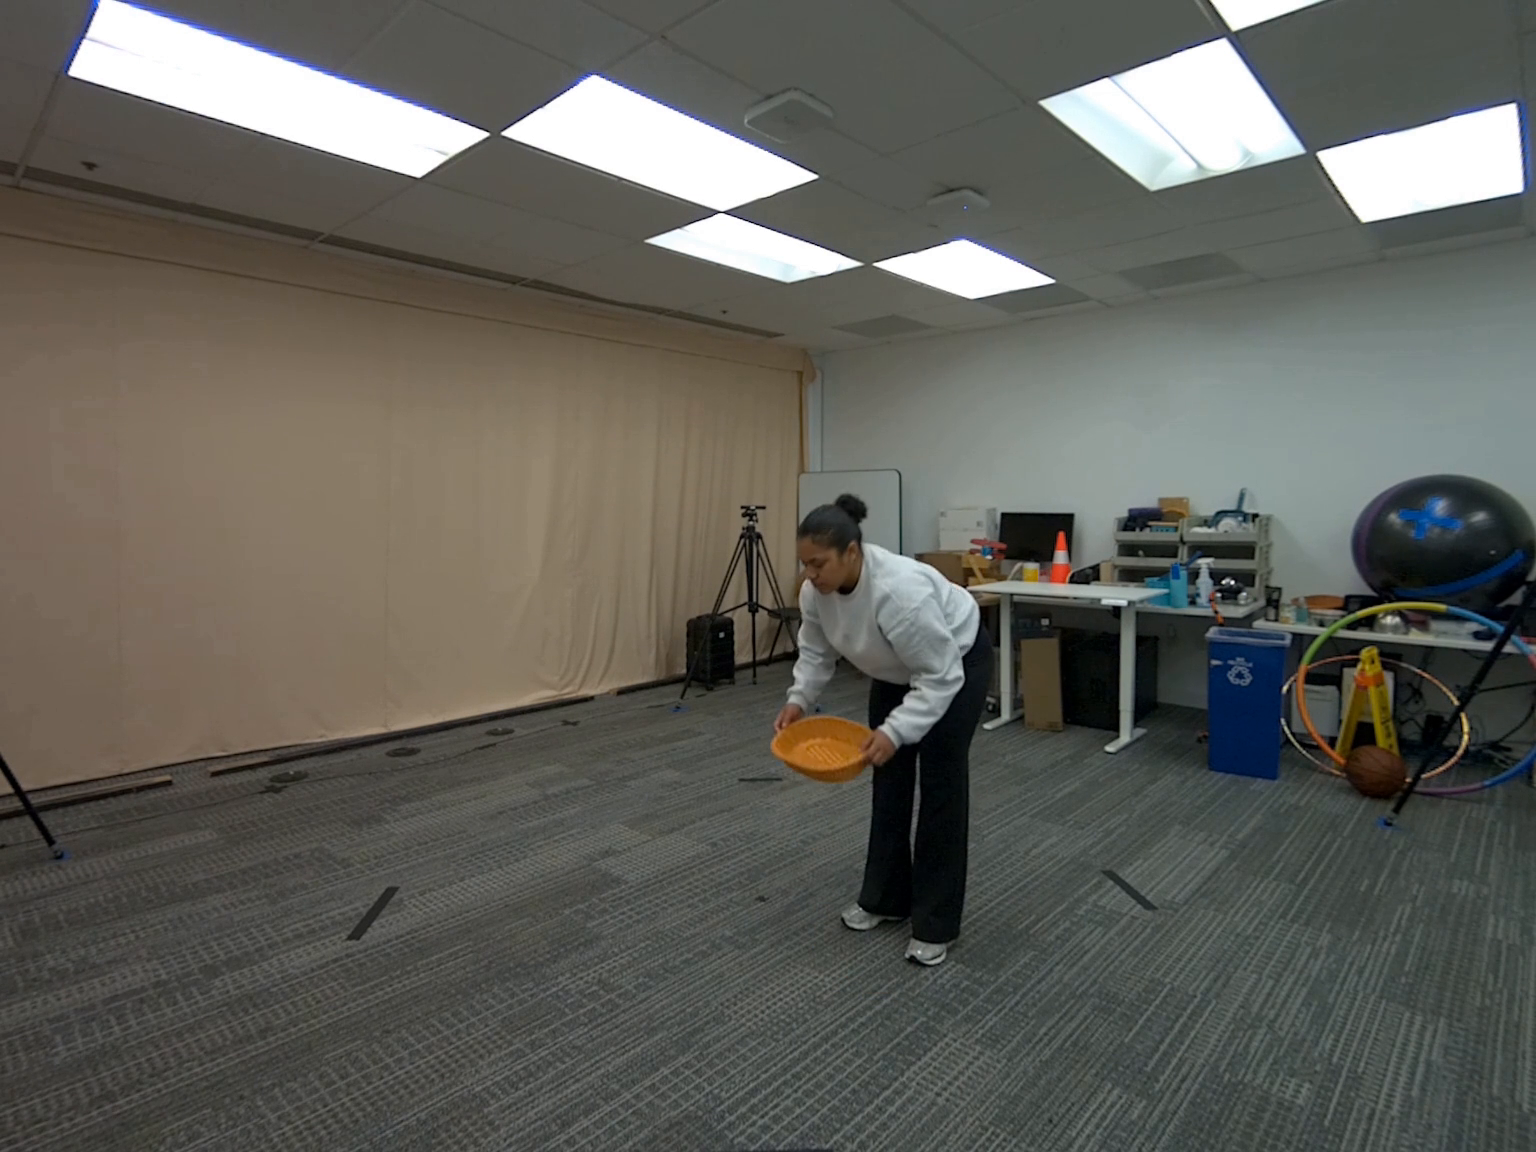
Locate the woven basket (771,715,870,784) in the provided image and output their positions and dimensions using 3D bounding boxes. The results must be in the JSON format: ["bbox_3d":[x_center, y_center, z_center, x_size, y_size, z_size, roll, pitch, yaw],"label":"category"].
[{"bbox_3d":[0.188,0.530,2.492,0.247,0.072,0.362,-24,18,-32],"label":"woven basket"}]
